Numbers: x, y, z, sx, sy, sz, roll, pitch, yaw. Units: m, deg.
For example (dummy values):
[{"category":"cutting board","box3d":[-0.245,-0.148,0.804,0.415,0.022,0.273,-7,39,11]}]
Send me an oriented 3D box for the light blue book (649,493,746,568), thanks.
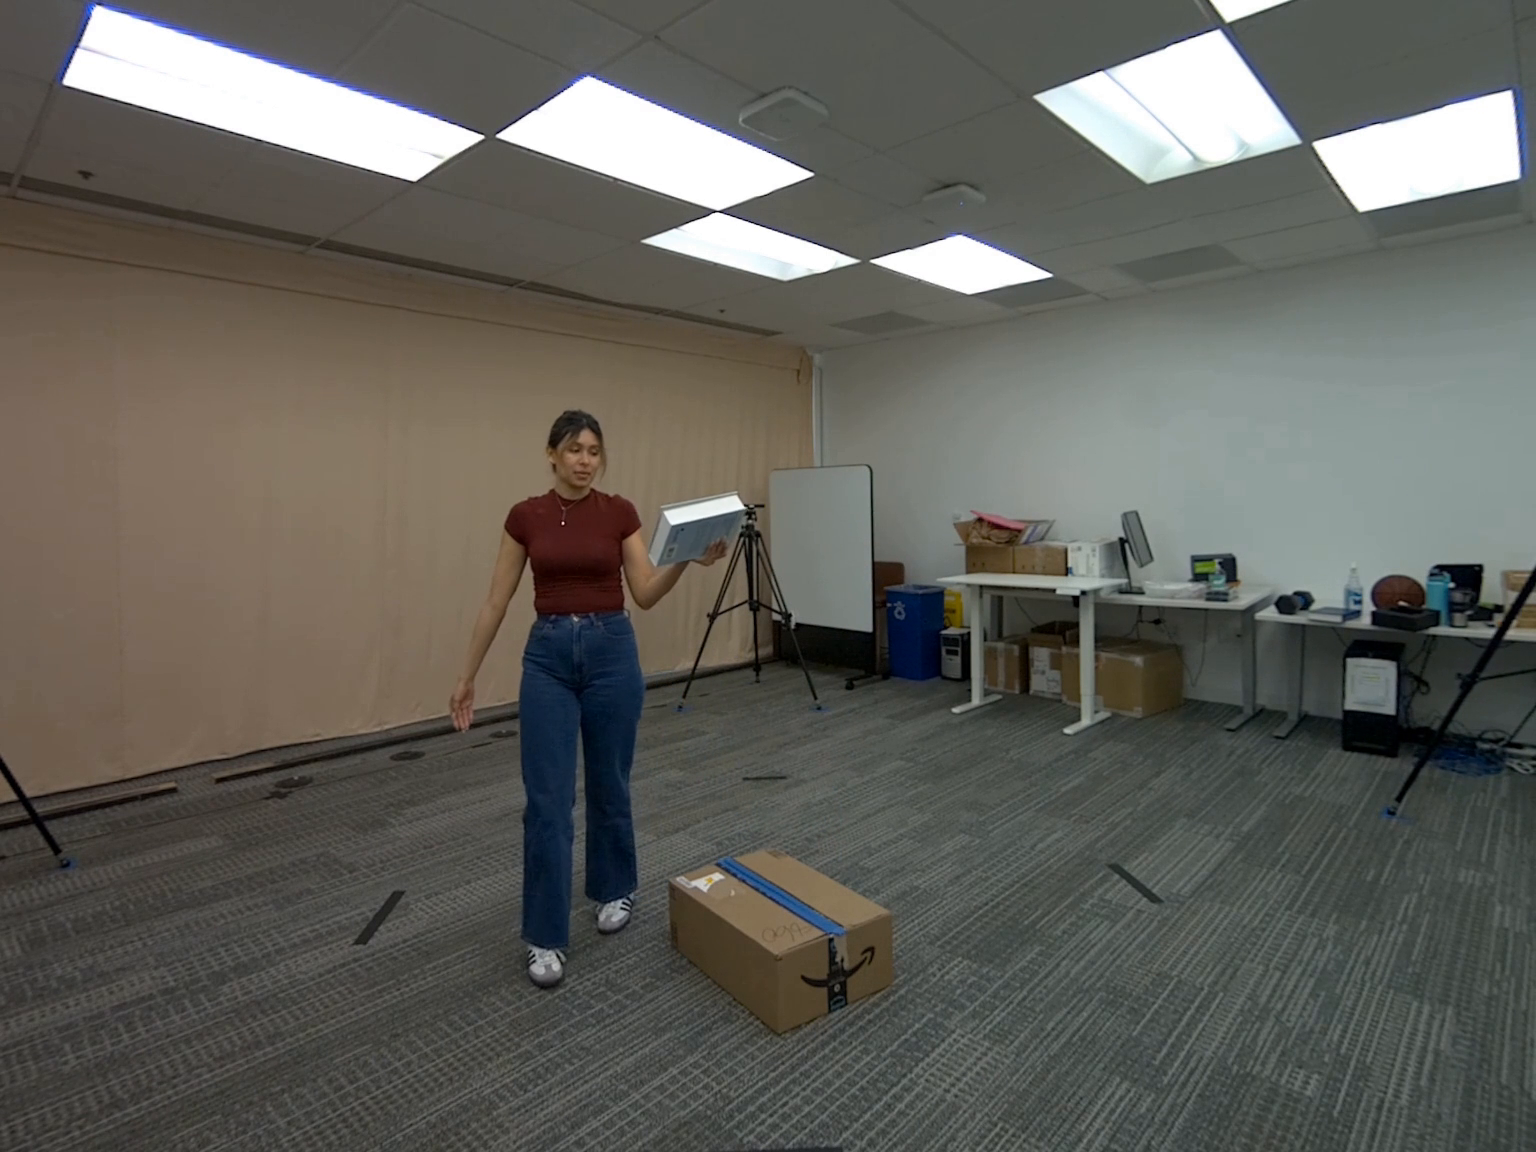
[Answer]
[{"category":"light blue book","box3d":[-0.207,-0.131,2.455,0.255,0.190,0.061,-15,54,-34]}]
